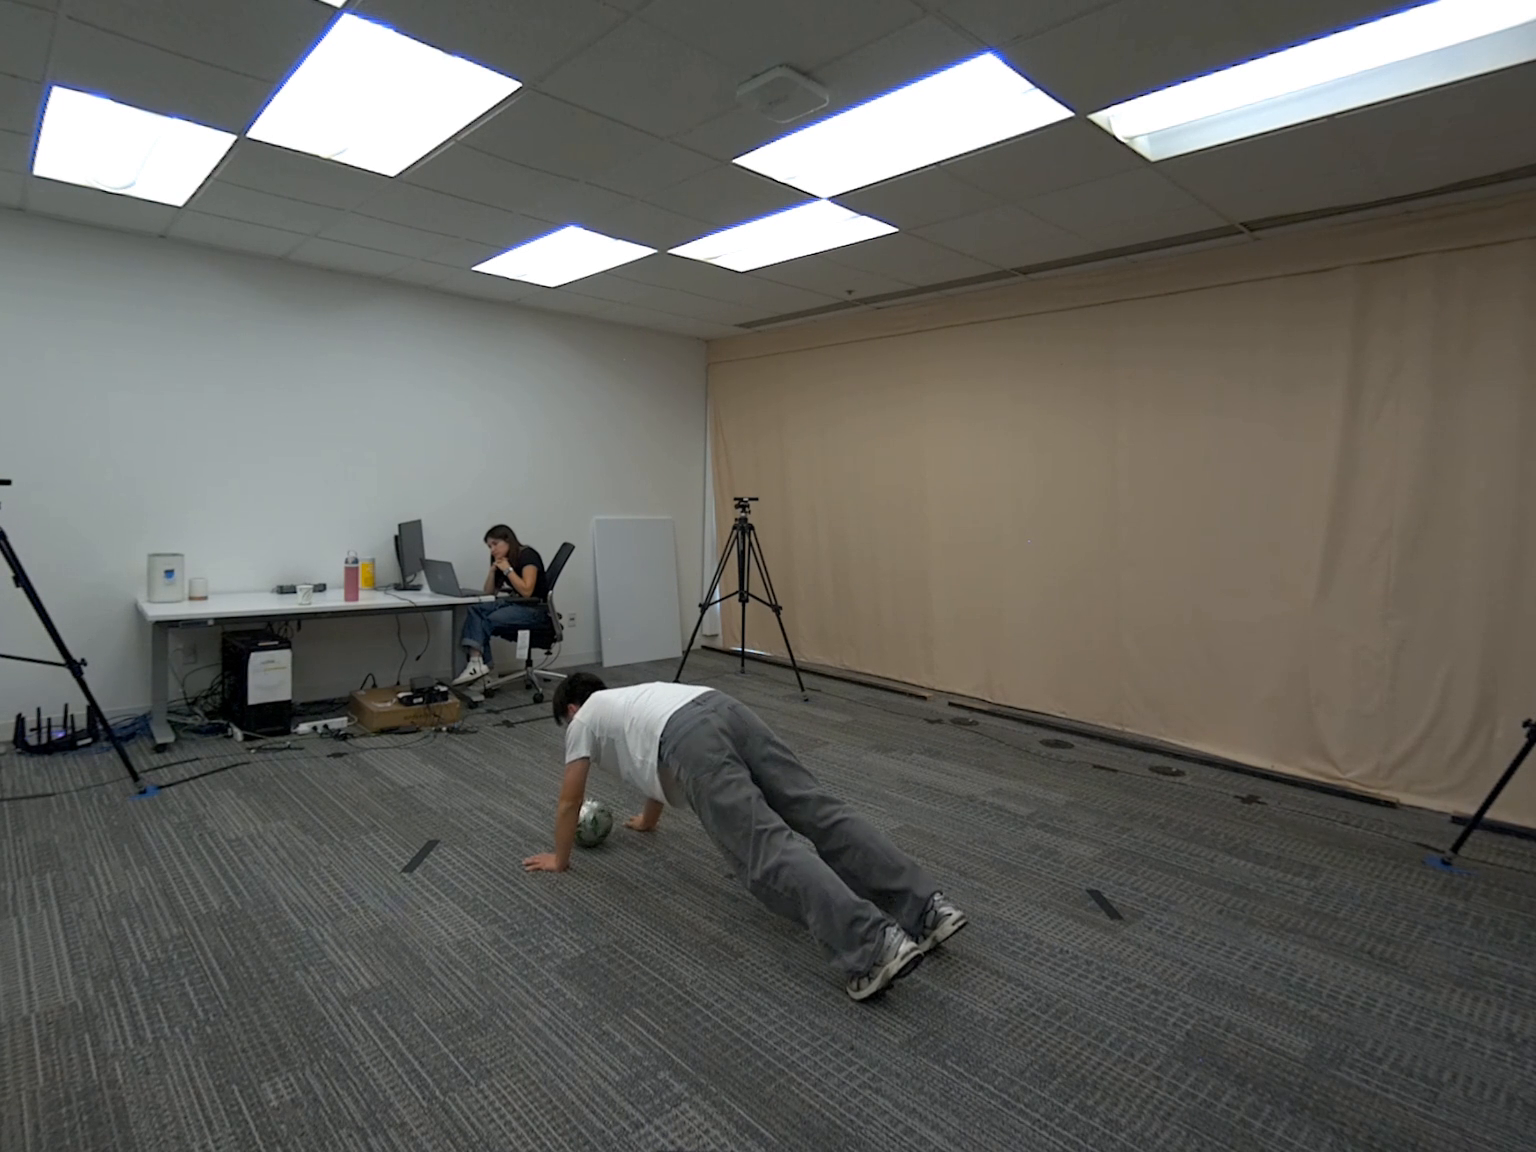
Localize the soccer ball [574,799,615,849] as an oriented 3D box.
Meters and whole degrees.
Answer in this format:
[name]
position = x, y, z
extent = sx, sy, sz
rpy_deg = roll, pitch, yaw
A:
[soccer ball]
position = -0.720, 0.982, 3.355
extent = 0.187, 0.187, 0.188
rpy_deg = 1, 4, -1
